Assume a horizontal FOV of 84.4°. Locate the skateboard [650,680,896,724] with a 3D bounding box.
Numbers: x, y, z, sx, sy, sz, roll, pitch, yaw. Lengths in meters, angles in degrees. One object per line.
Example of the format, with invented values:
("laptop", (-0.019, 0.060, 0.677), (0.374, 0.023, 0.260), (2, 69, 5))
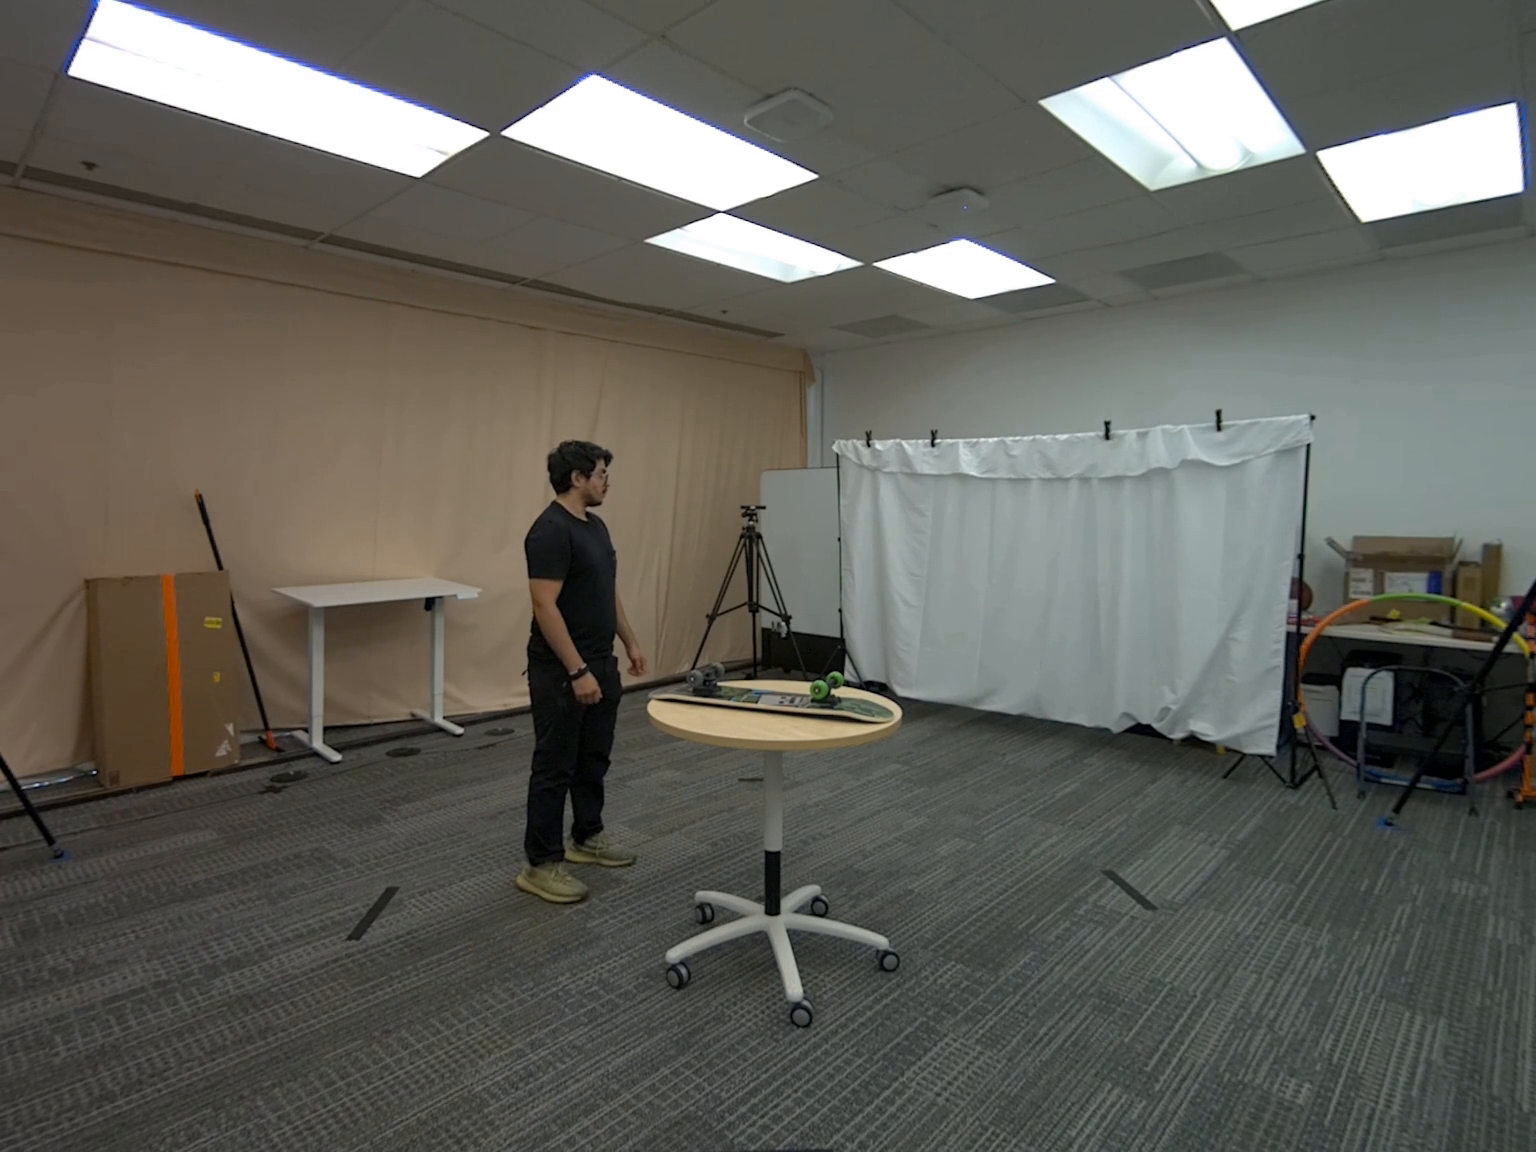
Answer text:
("skateboard", (-0.009, 0.351, 2.554), (0.805, 0.110, 0.189), (1, 4, 25))
